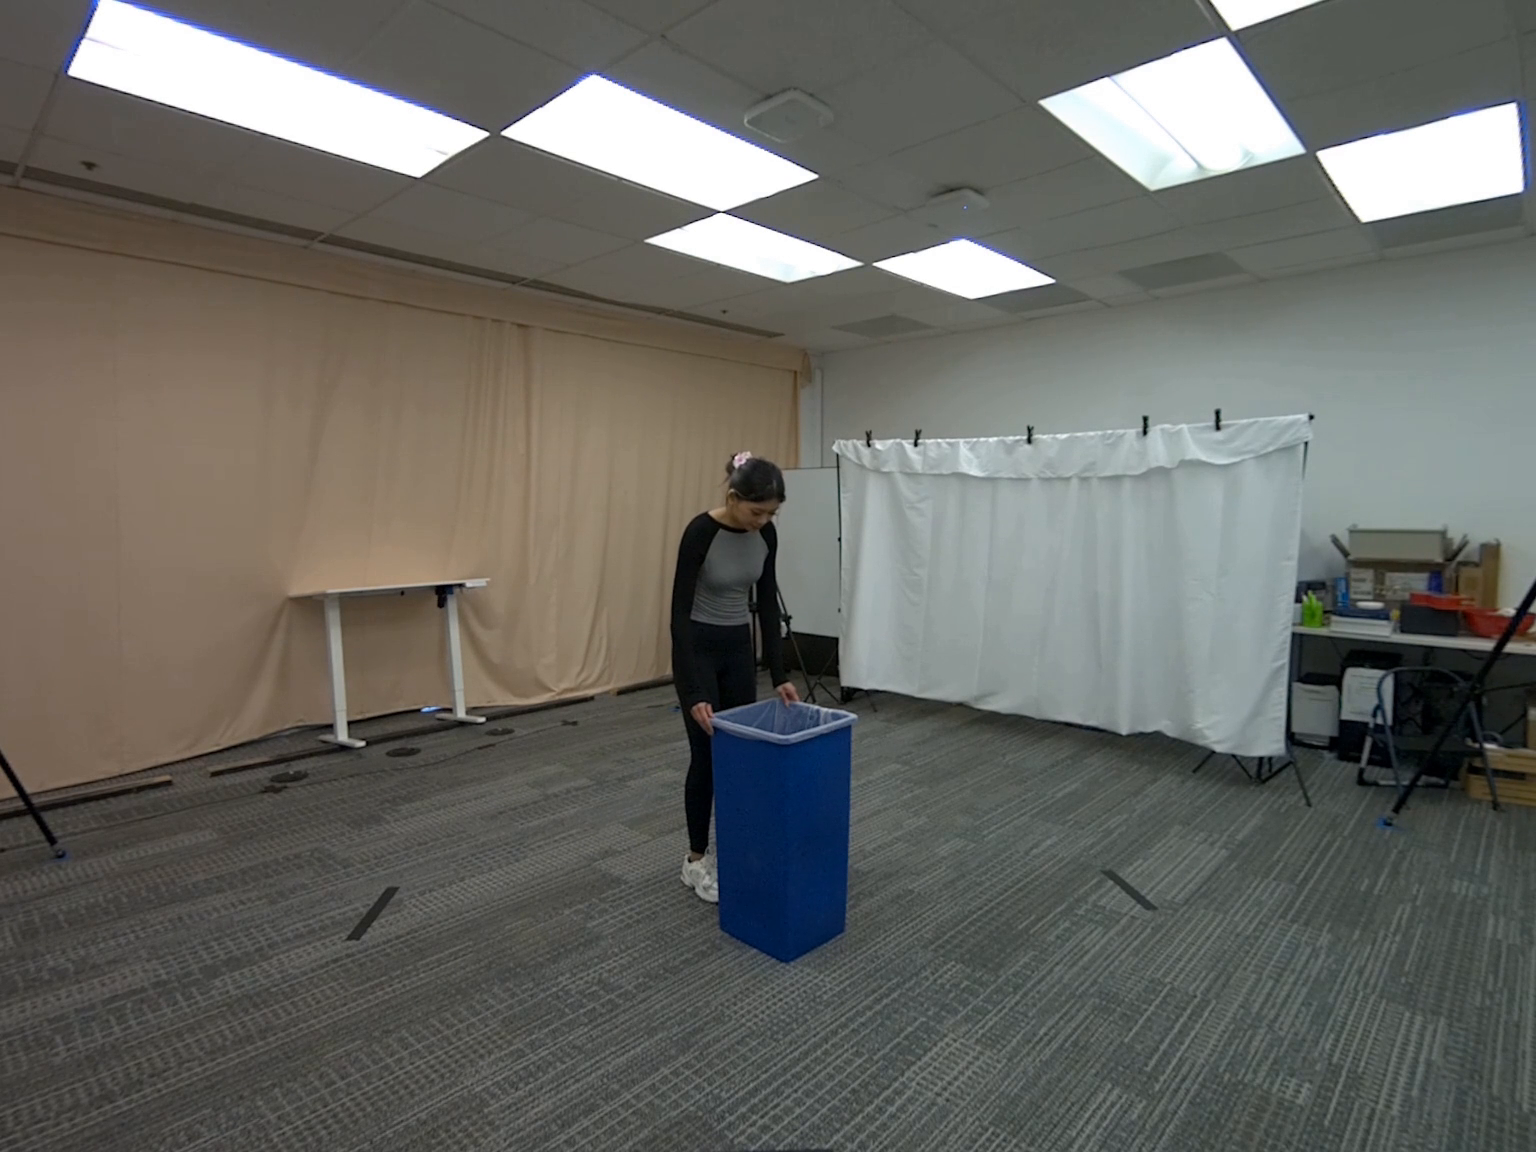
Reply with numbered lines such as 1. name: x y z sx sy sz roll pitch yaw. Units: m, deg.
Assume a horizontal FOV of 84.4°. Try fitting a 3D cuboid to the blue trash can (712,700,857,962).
1. blue trash can: 0.048 0.807 2.737 0.390 0.712 0.362 2 4 44
